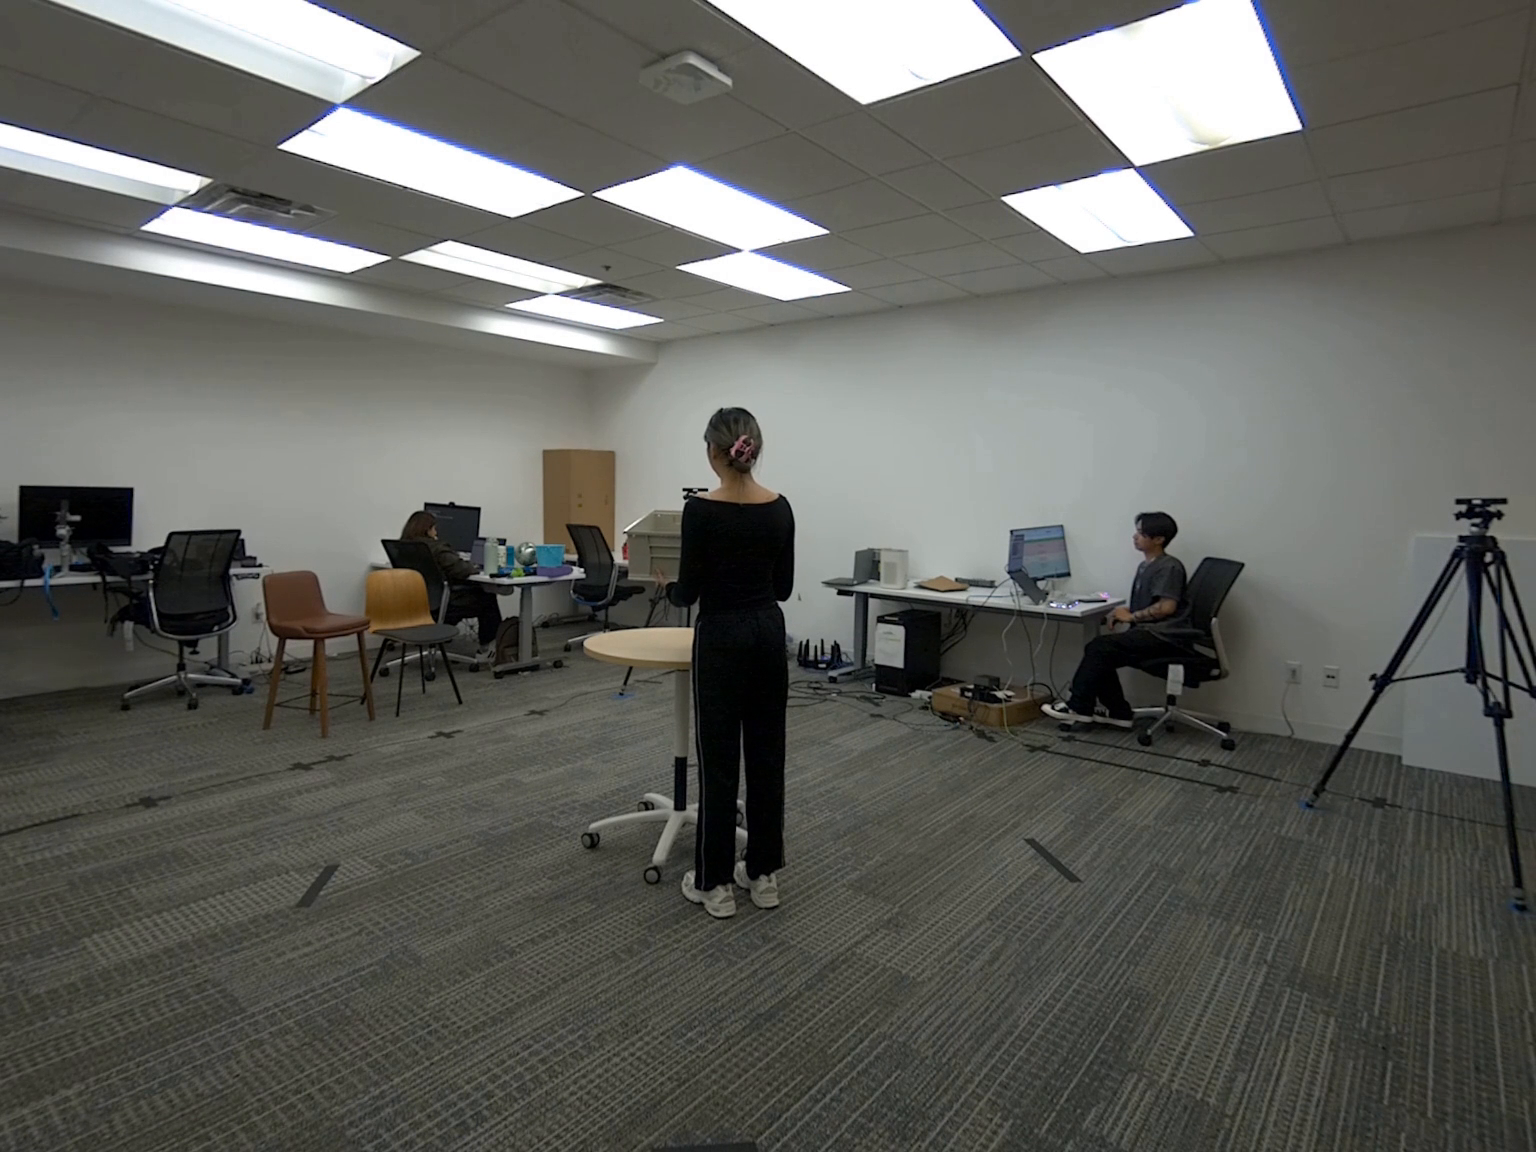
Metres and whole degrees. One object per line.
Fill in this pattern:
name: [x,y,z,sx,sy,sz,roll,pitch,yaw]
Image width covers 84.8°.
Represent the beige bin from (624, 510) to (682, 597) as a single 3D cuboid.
beige bin: [-0.307,-0.113,3.182,0.380,0.186,0.425,2,17,6]
